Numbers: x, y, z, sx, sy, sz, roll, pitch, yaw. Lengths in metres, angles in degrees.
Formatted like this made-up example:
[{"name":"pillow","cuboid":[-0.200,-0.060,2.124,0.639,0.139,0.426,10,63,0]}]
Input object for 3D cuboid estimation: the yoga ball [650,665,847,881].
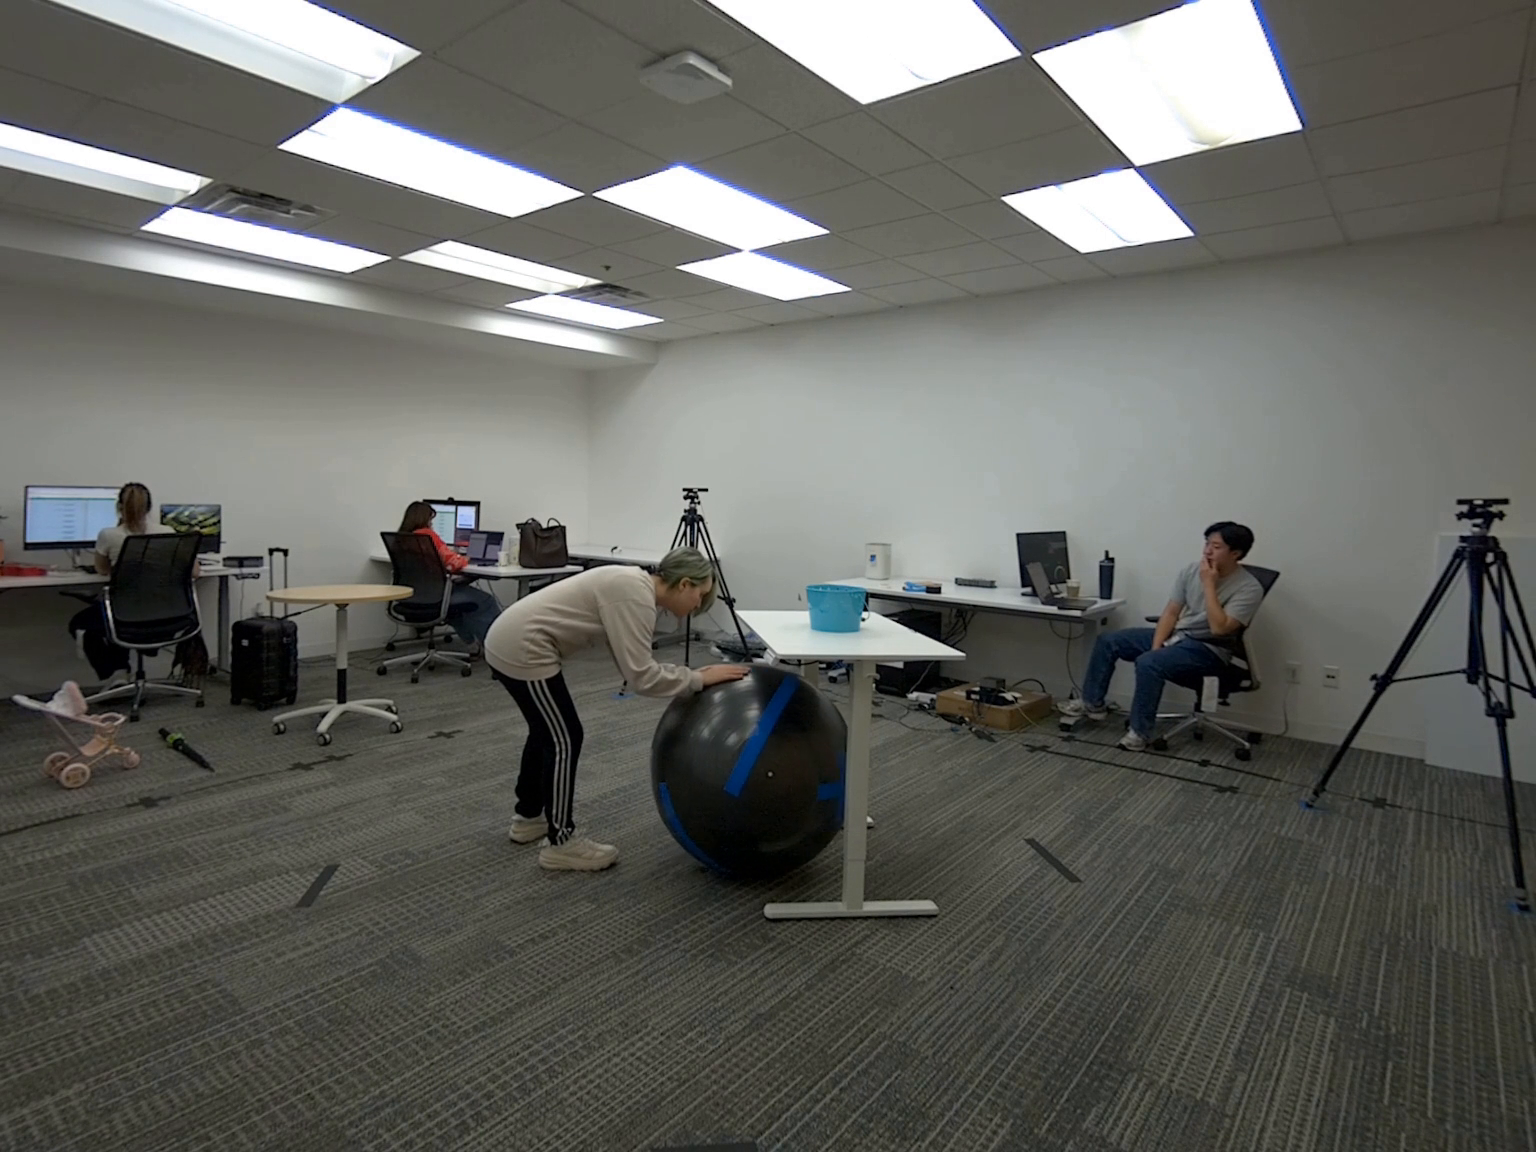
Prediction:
[{"name":"yoga ball","cuboid":[-0.067,0.701,3.129,0.757,0.755,0.762,1,4,-2]}]
